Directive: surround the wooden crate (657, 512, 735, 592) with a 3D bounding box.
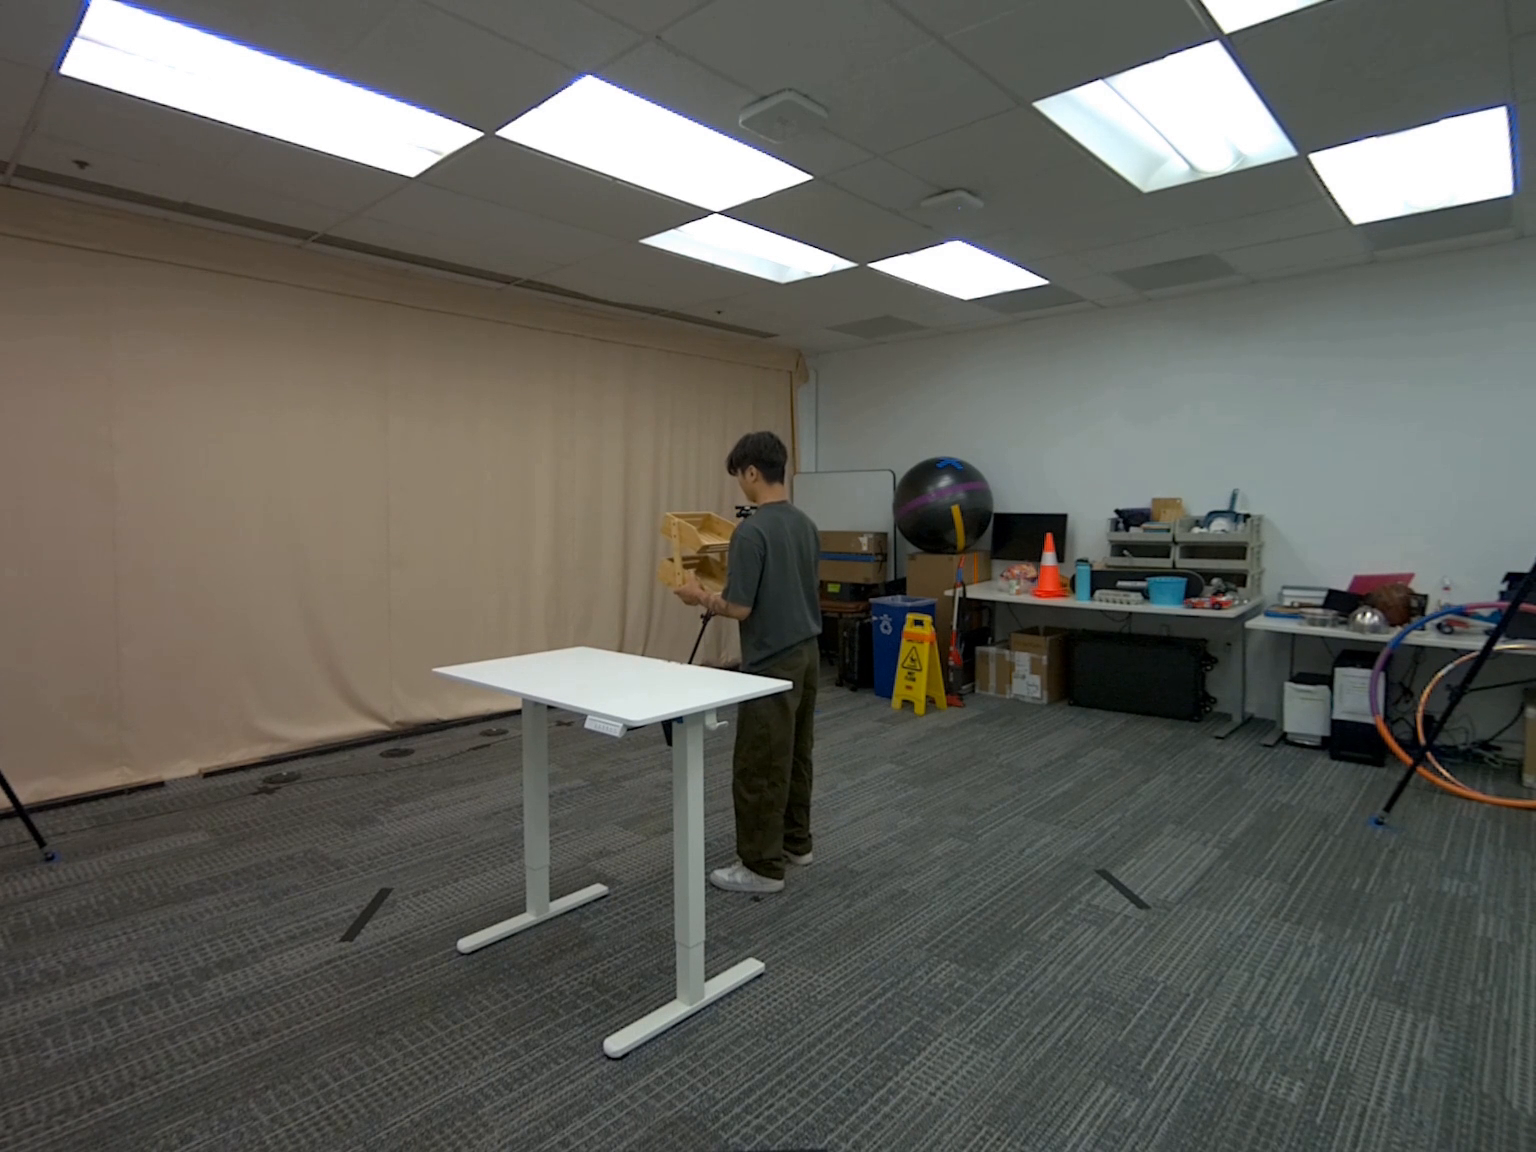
[{"bbox_3d":[-0.231,-0.076,3.343,0.312,0.272,0.315,27,17,28],"label":"wooden crate"}]
